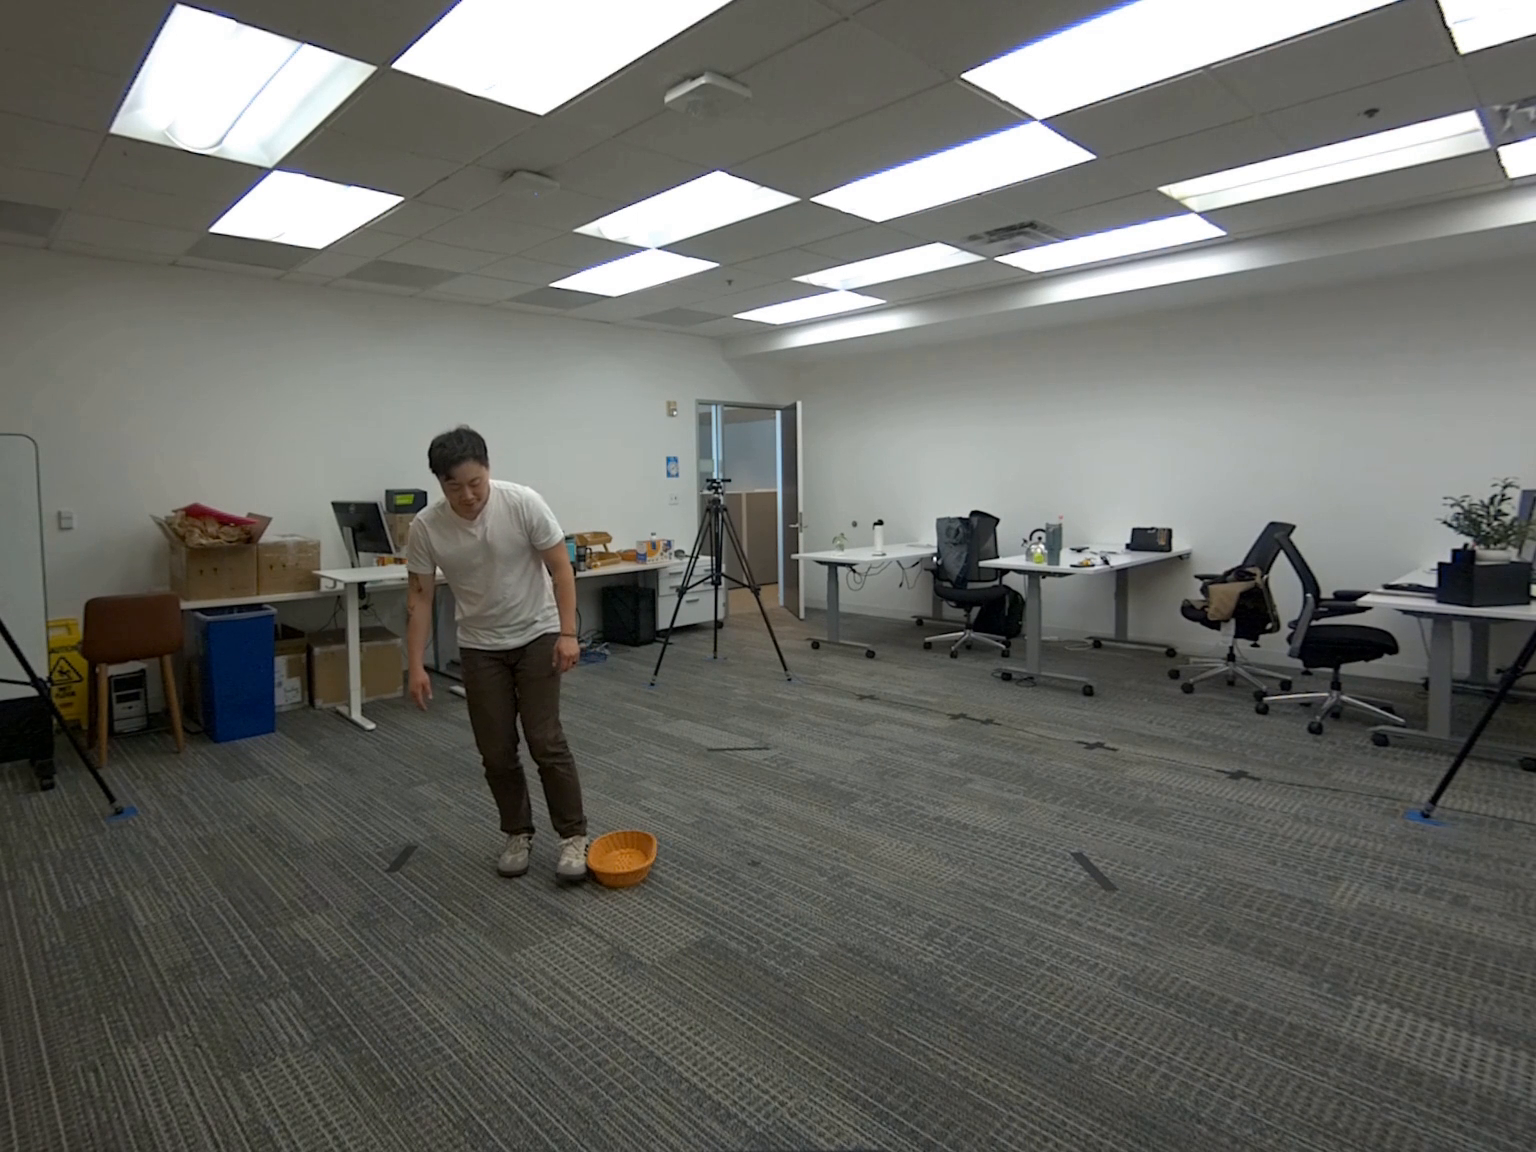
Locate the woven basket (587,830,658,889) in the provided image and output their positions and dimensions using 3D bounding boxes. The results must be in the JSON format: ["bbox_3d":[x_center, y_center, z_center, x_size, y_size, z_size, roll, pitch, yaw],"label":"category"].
[{"bbox_3d":[-0.523,1.014,3.075,0.252,0.073,0.353,-2,7,-3],"label":"woven basket"}]
